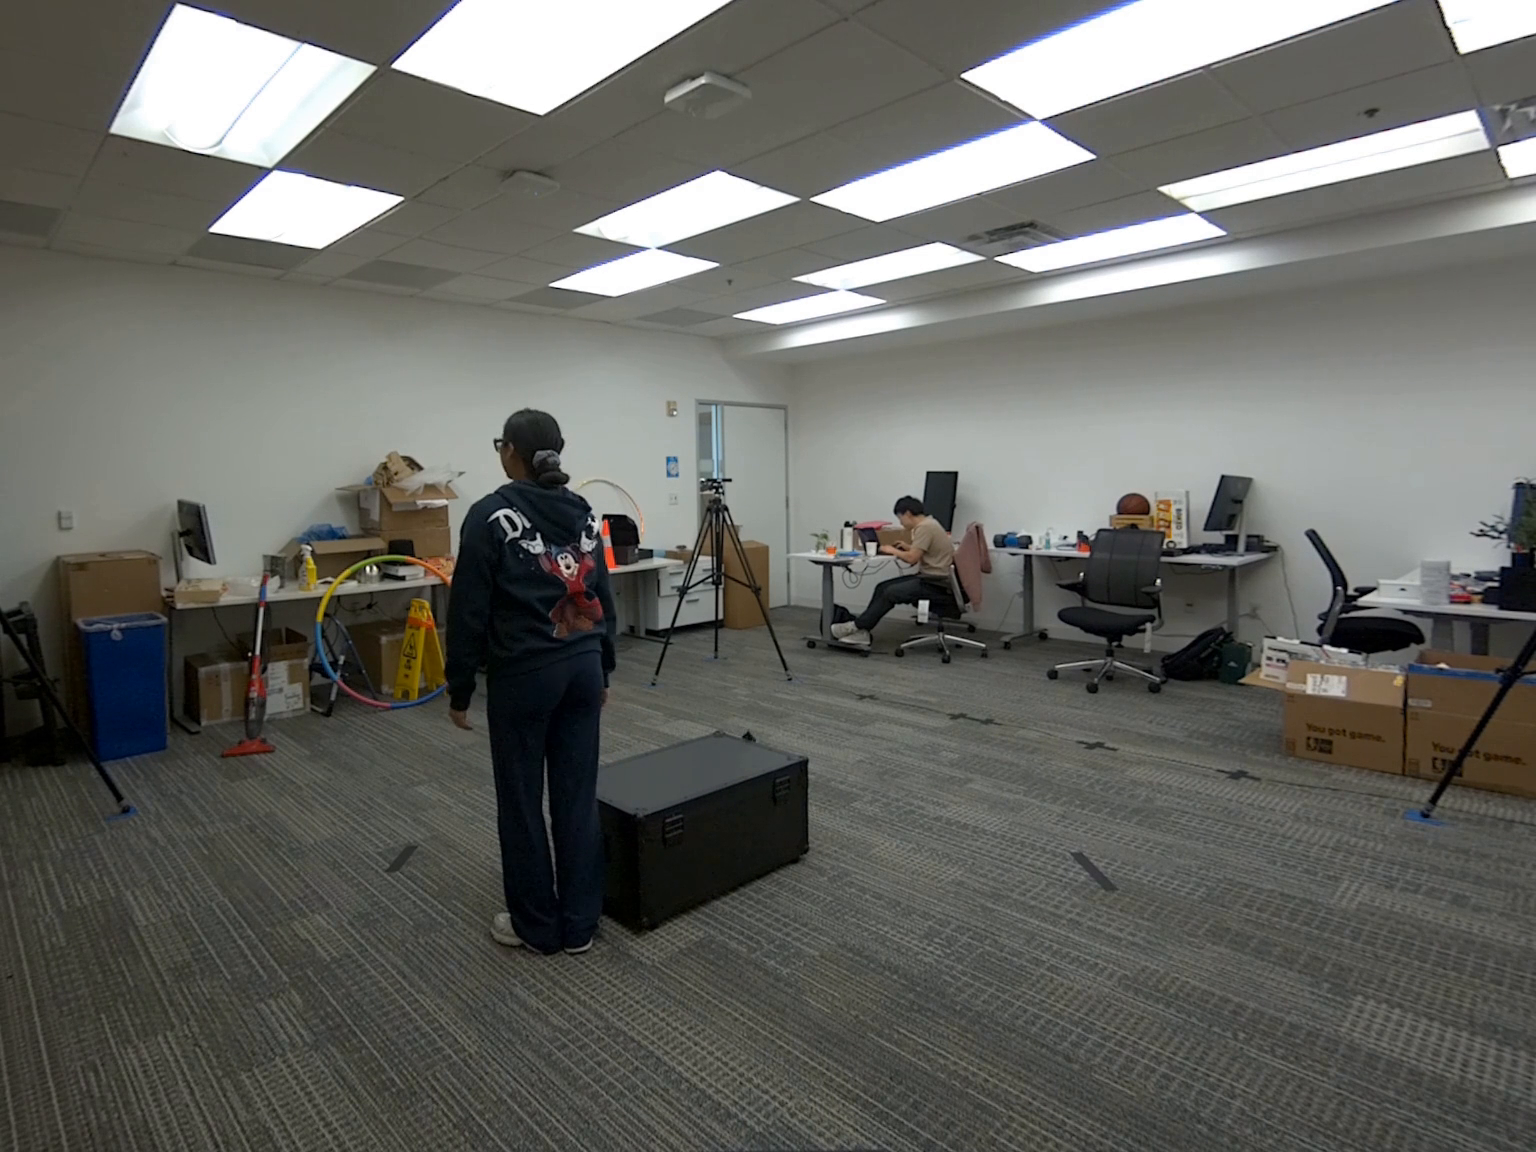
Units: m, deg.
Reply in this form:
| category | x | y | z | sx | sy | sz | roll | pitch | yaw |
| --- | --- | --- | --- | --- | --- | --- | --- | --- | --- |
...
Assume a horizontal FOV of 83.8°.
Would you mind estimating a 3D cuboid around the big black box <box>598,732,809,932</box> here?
| category | x | y | z | sx | sy | sz | roll | pitch | yaw |
| --- | --- | --- | --- | --- | --- | --- | --- | --- | --- |
| big black box | -0.265 | 0.862 | 3.059 | 0.839 | 0.394 | 0.537 | -8 | 9 | -44 |
